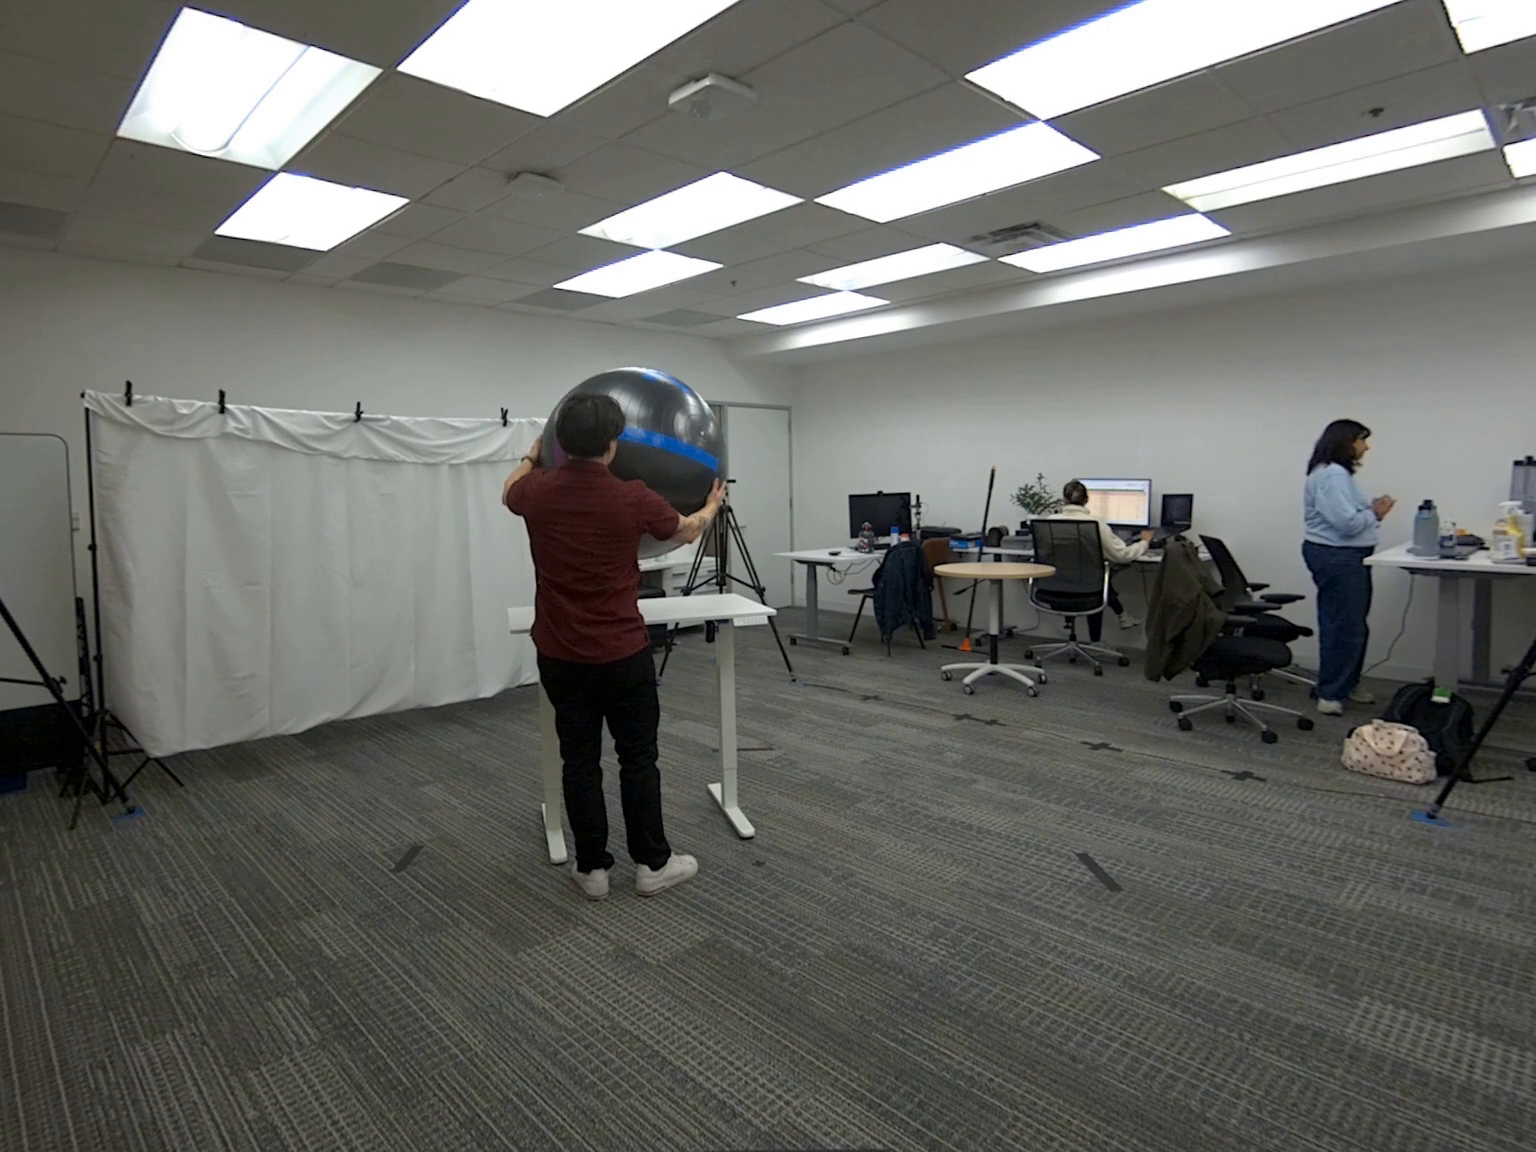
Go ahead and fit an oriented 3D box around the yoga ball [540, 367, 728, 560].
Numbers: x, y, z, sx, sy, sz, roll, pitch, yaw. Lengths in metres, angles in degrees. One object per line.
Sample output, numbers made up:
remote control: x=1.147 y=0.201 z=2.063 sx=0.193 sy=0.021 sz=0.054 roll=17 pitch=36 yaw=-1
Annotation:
yoga ball: x=-0.545 y=-0.440 z=3.425 sx=0.757 sy=0.755 sz=0.762 roll=-1 pitch=5 yaw=-2
